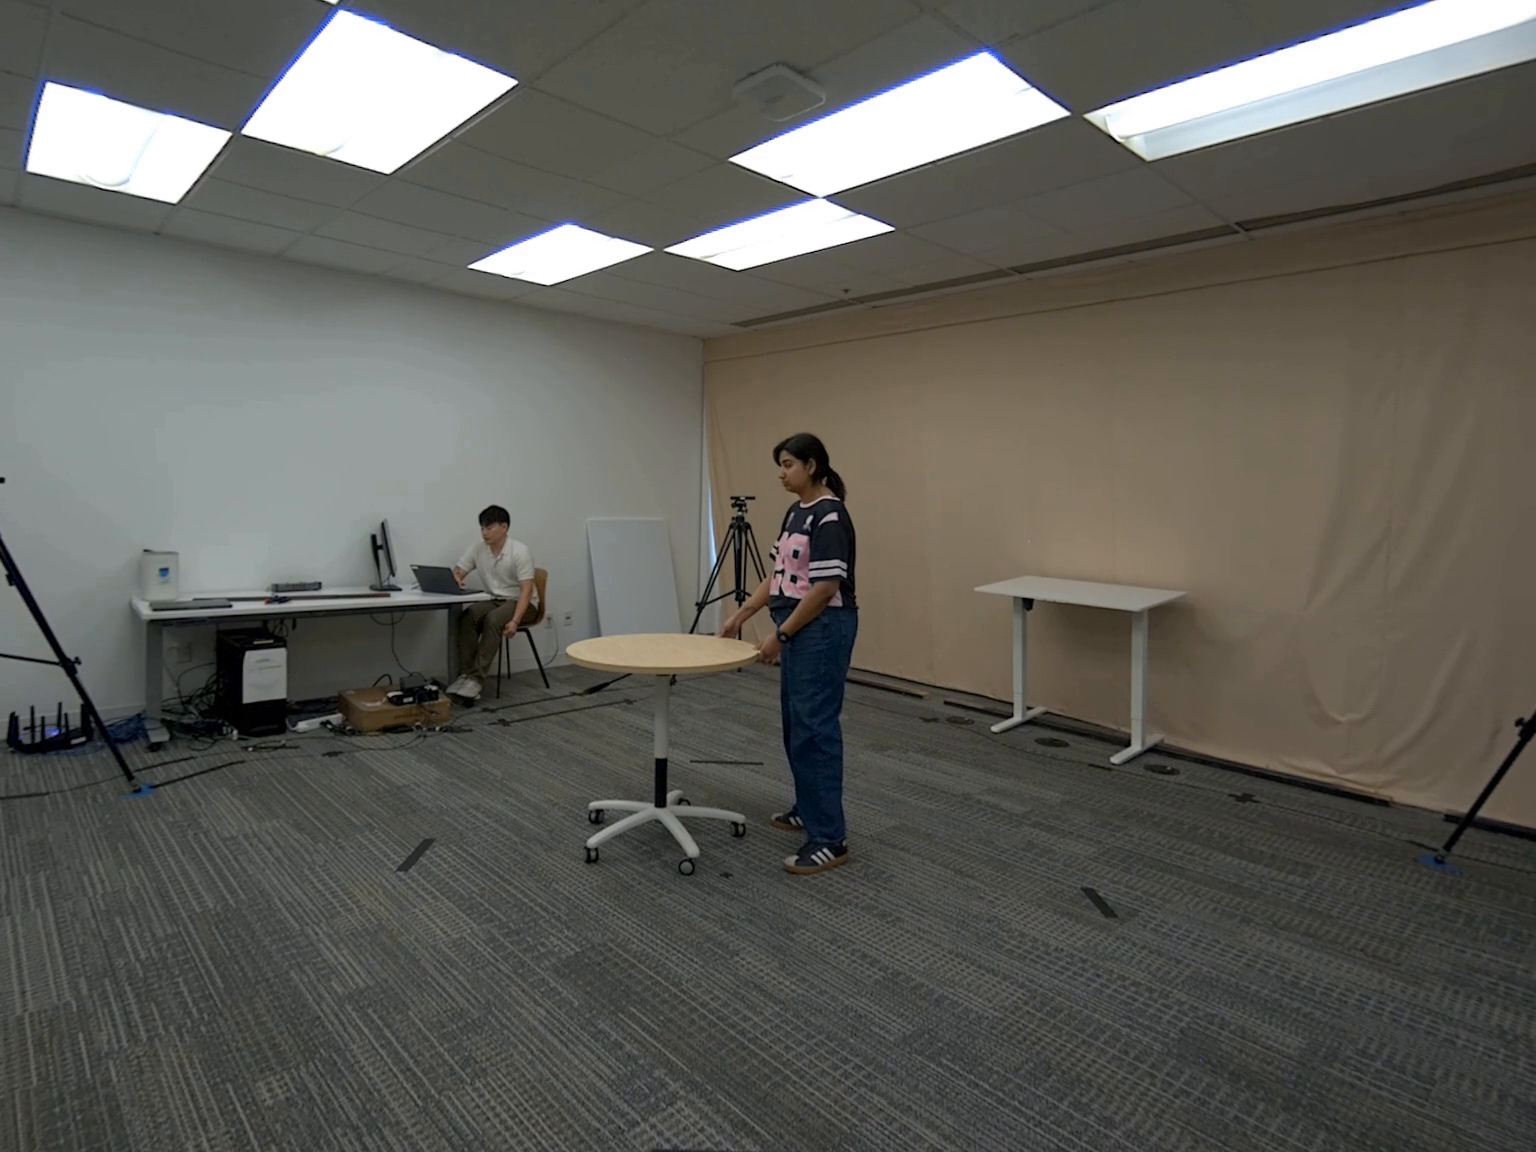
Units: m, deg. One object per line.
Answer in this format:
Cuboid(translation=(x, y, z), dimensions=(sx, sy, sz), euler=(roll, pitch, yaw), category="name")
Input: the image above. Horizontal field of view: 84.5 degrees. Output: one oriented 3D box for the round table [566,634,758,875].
Cuboid(translation=(-0.436, 0.685, 3.383), dimensions=(0.763, 0.792, 0.766), euler=(1, 4, -1), category="round table")
